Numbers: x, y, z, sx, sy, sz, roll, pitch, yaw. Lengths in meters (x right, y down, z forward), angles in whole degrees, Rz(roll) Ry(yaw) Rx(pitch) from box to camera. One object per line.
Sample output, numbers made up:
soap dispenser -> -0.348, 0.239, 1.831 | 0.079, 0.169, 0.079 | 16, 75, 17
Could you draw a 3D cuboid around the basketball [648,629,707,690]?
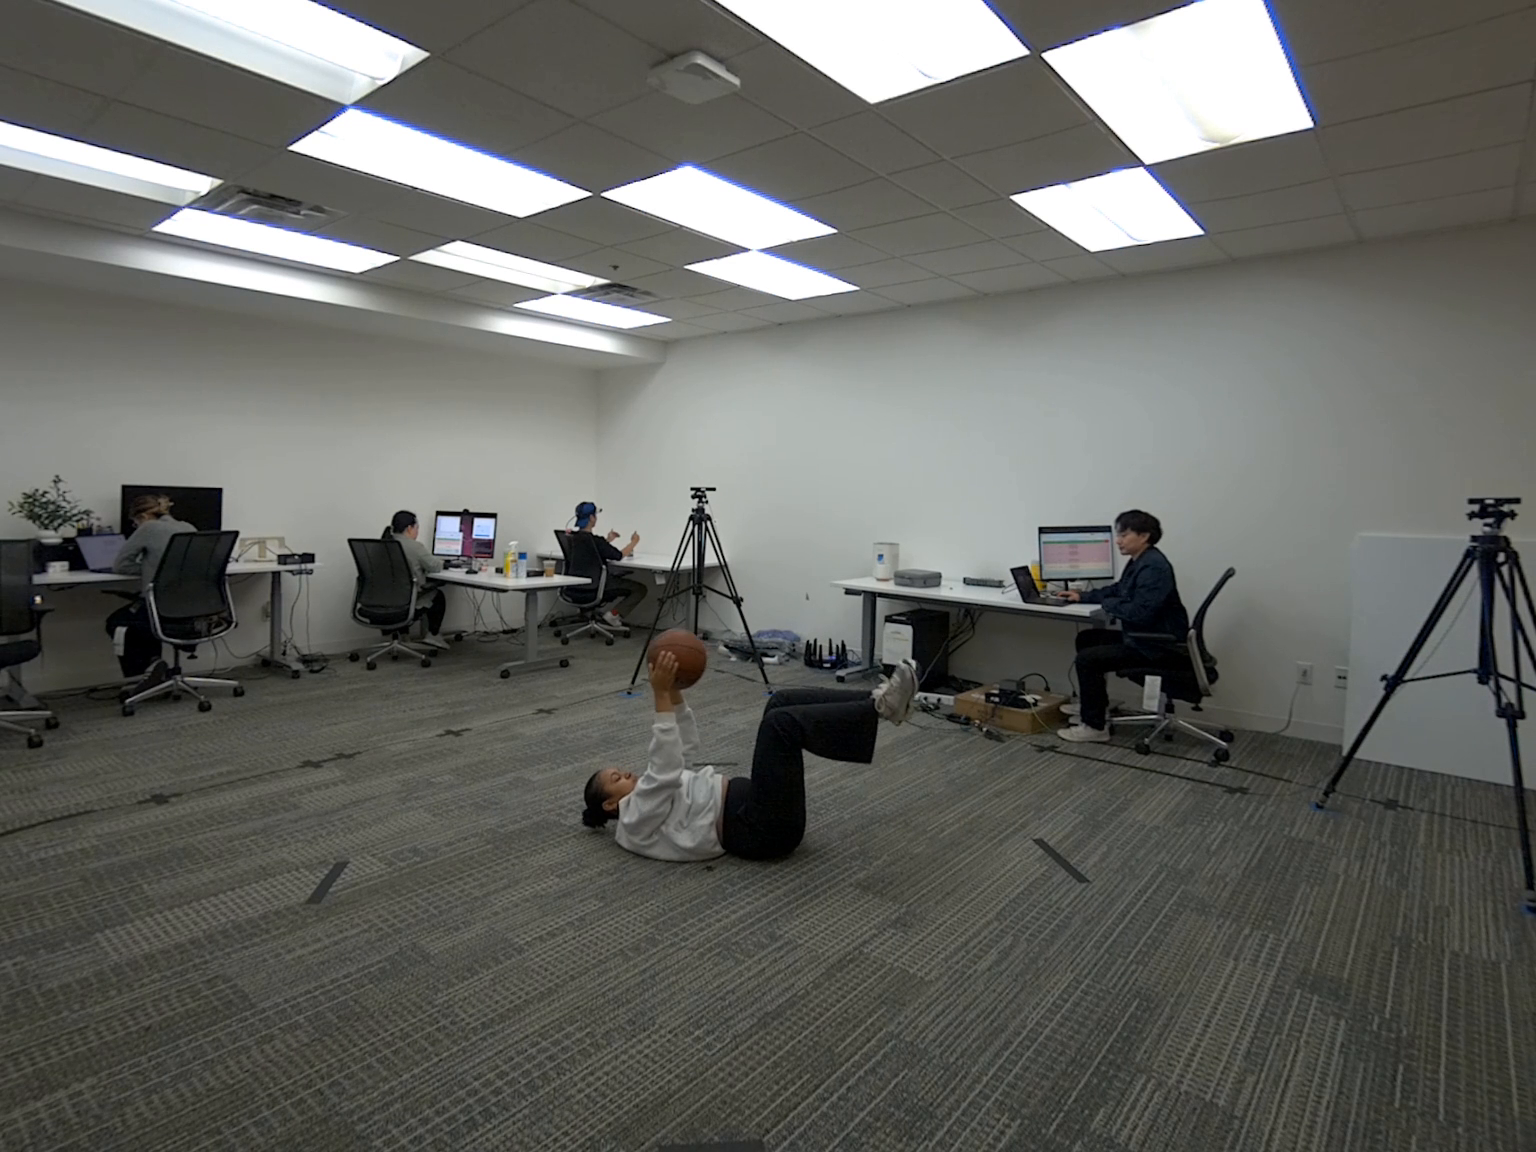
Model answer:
basketball -> -0.381, 0.341, 3.357 | 0.236, 0.235, 0.237 | 0, 4, -2
